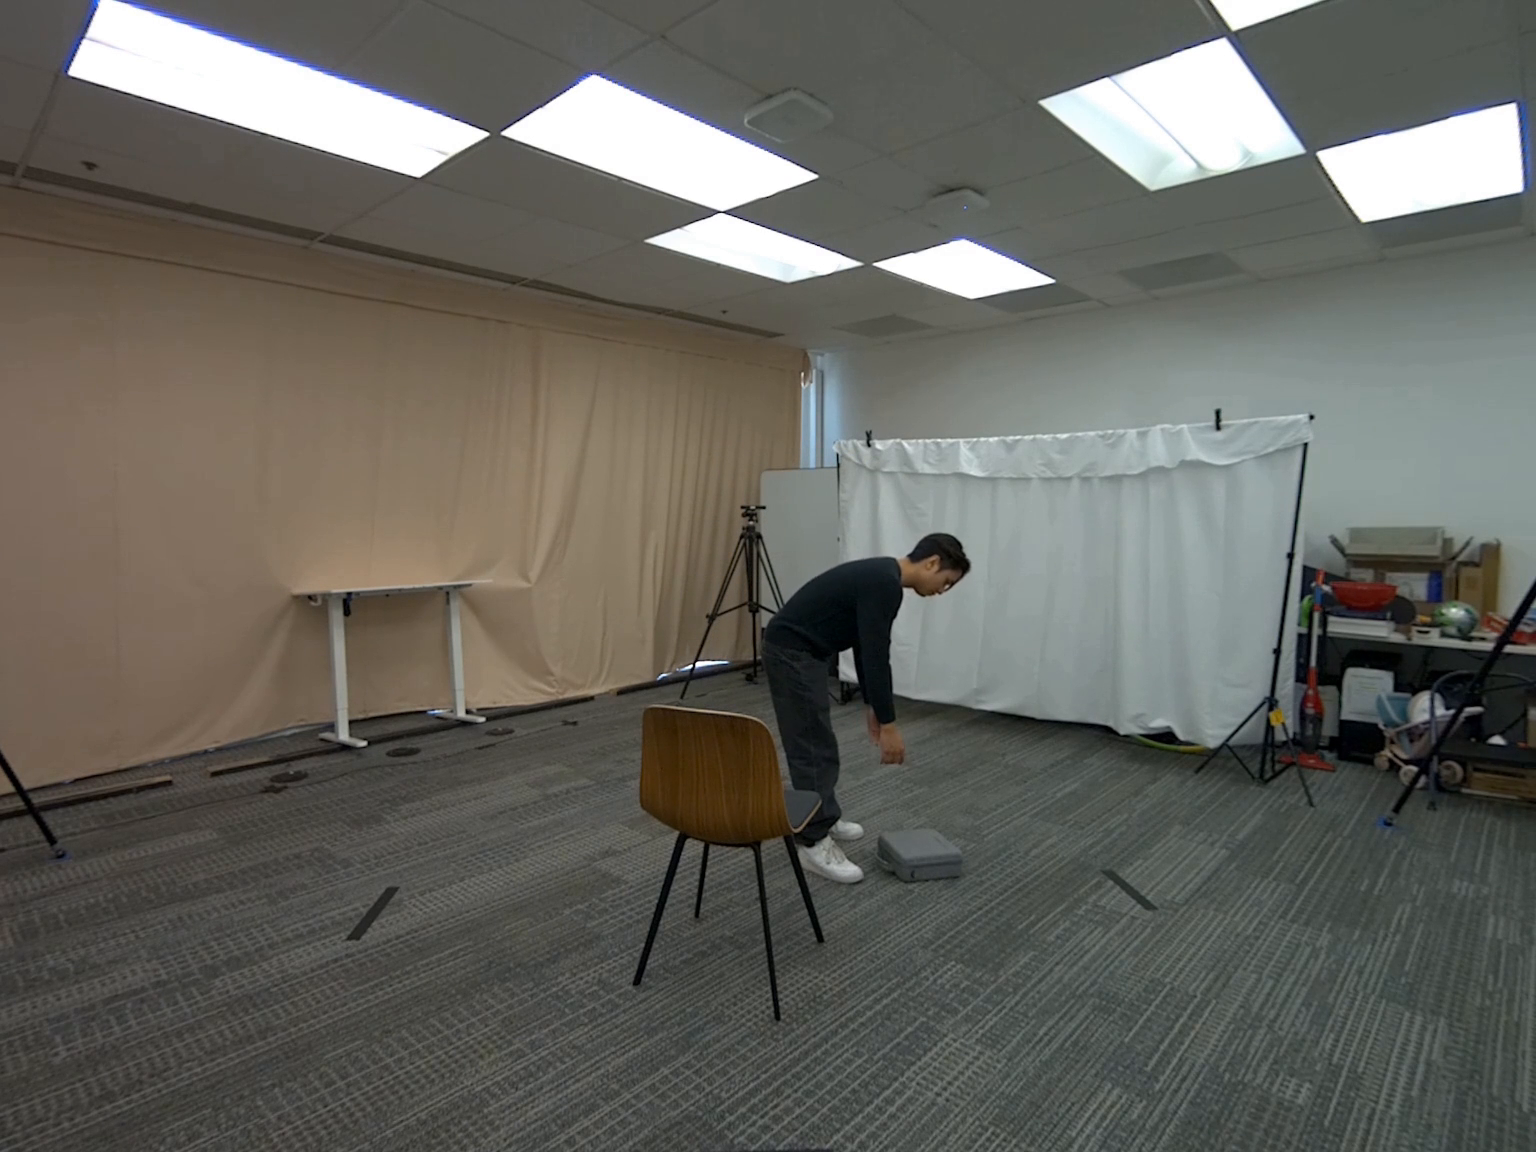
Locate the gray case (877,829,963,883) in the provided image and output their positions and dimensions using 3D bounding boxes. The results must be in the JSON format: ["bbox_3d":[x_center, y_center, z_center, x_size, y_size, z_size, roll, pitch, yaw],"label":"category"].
[{"bbox_3d":[0.582,1.068,3.227,0.257,0.104,0.261,-1,5,-13],"label":"gray case"}]
